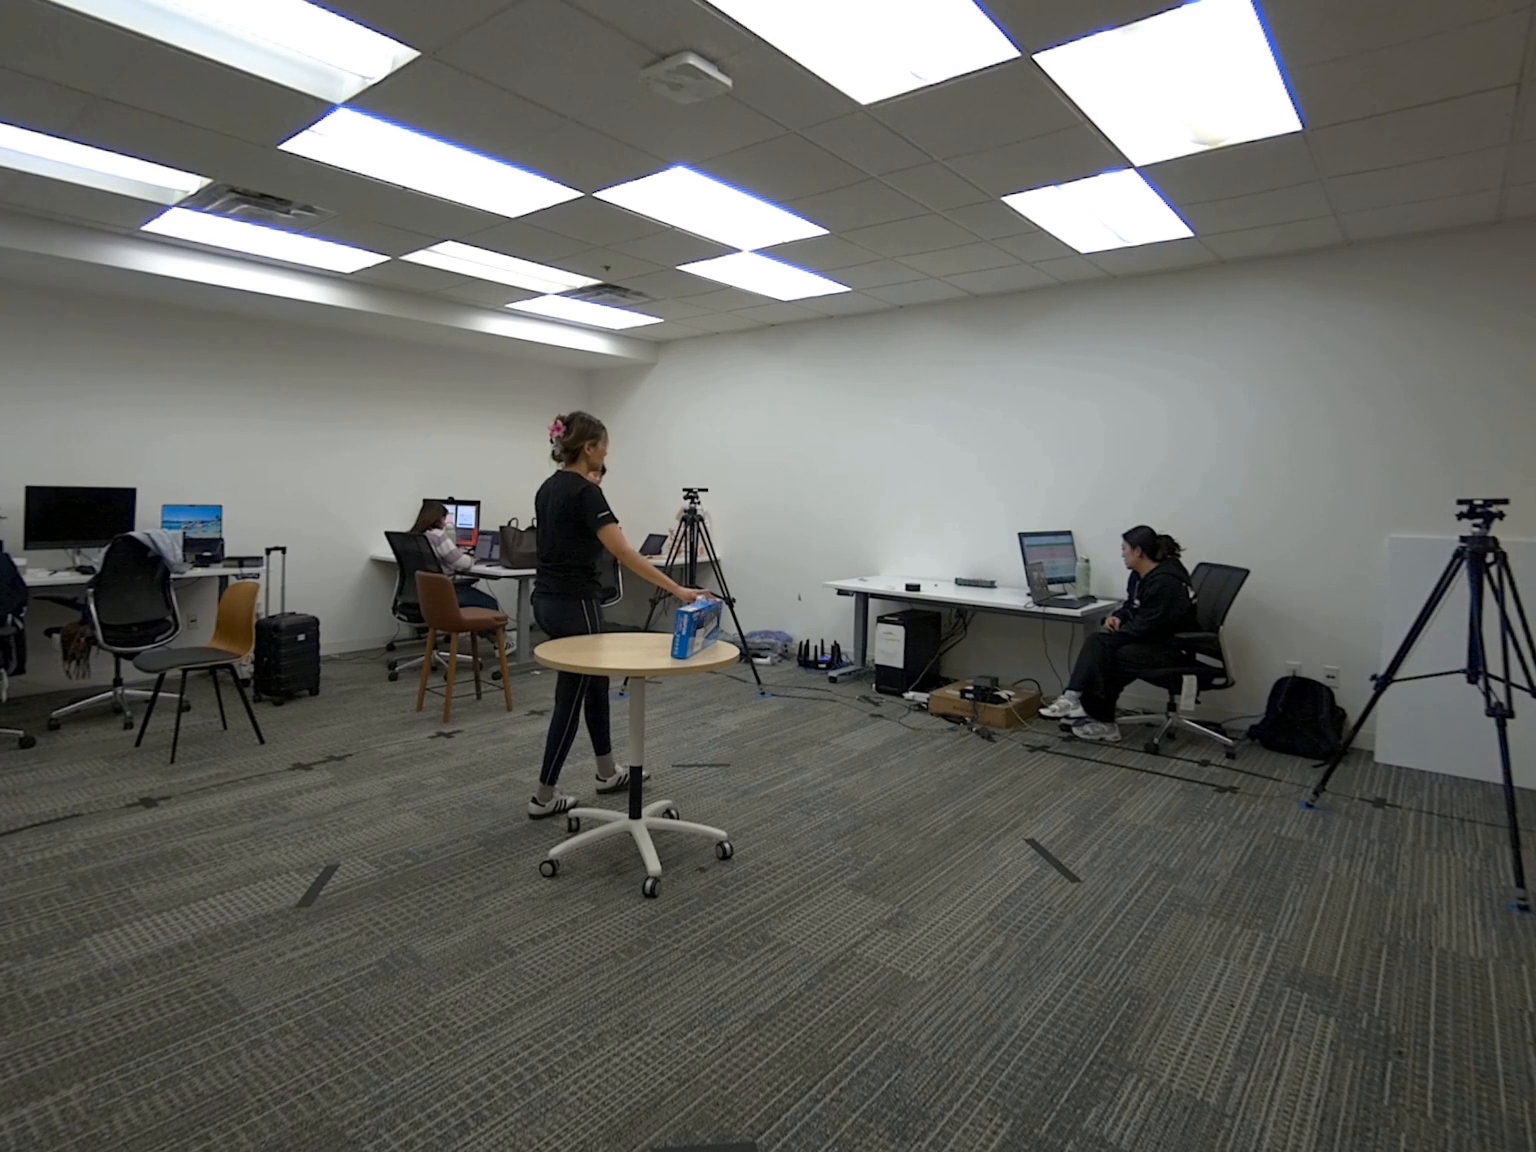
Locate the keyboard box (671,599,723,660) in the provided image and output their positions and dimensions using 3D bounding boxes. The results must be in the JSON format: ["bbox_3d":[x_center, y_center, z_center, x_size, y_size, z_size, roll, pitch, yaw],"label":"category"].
[{"bbox_3d":[-0.272,0.186,3.206,0.060,0.175,0.432,9,6,10],"label":"keyboard box"}]
